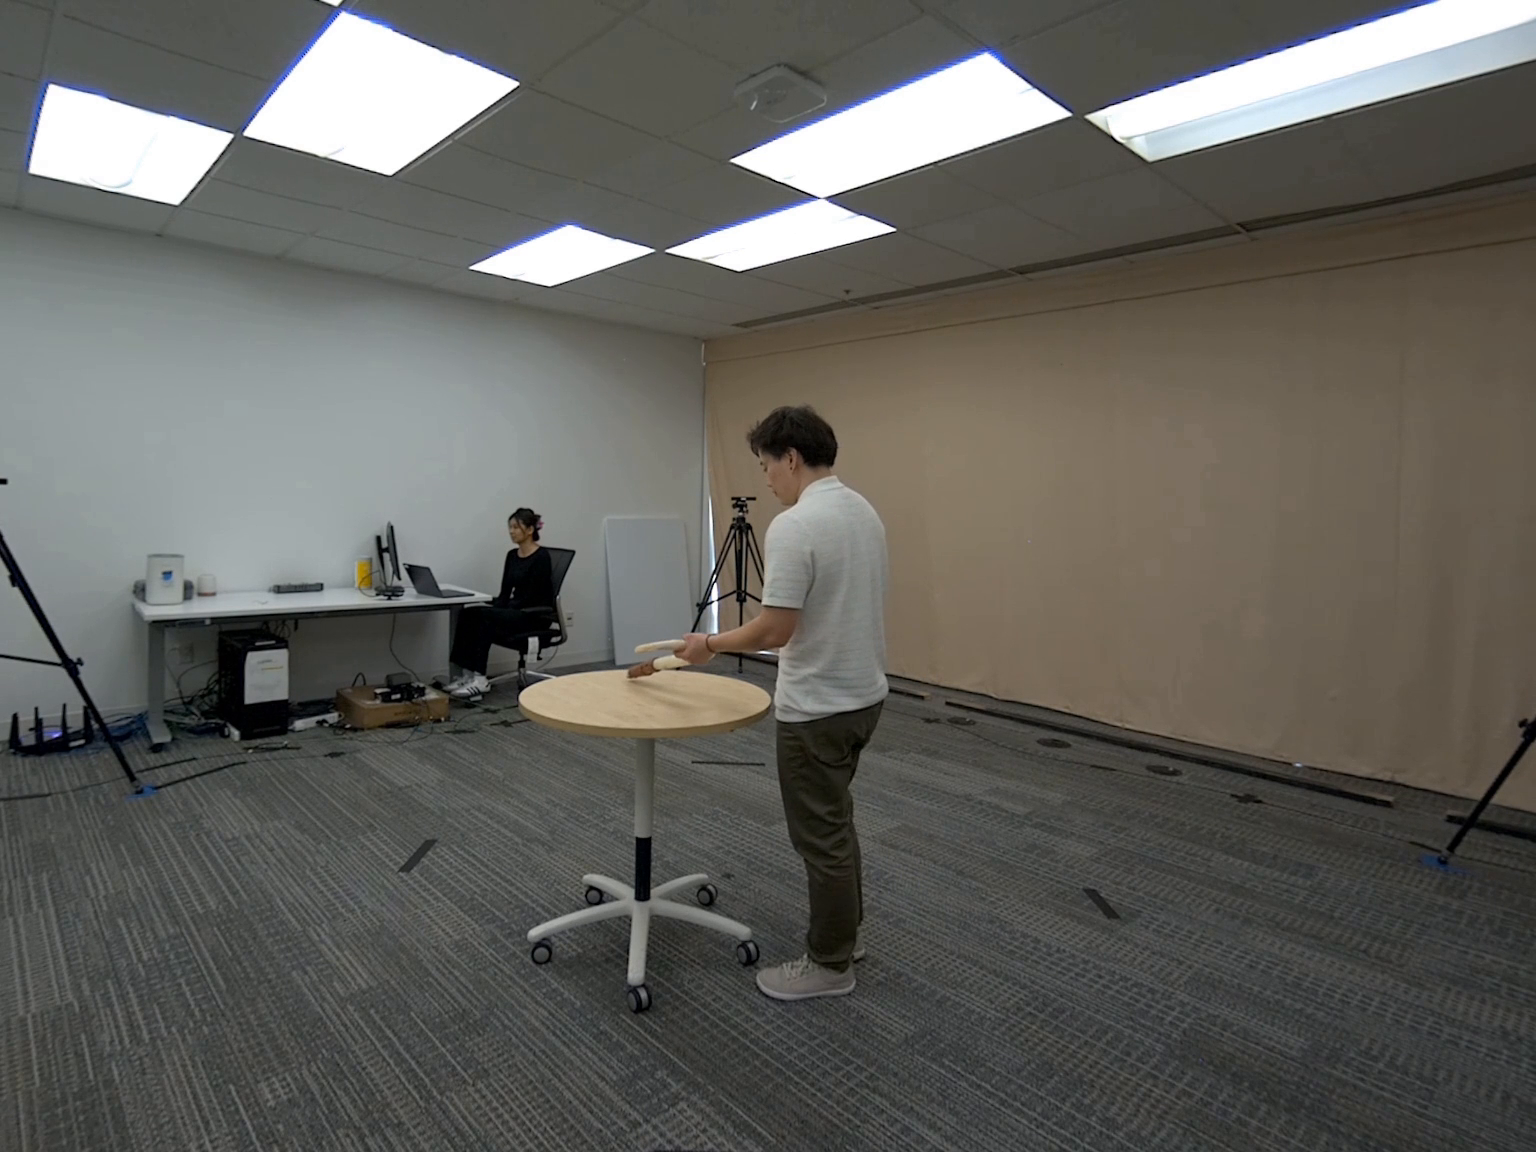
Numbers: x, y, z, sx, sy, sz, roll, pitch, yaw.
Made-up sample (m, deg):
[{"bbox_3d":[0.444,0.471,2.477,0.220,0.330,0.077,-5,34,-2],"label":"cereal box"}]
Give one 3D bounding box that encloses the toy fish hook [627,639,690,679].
[{"bbox_3d":[-0.367,0.254,2.566,0.219,0.049,0.512,18,-26,-31],"label":"toy fish hook"}]
